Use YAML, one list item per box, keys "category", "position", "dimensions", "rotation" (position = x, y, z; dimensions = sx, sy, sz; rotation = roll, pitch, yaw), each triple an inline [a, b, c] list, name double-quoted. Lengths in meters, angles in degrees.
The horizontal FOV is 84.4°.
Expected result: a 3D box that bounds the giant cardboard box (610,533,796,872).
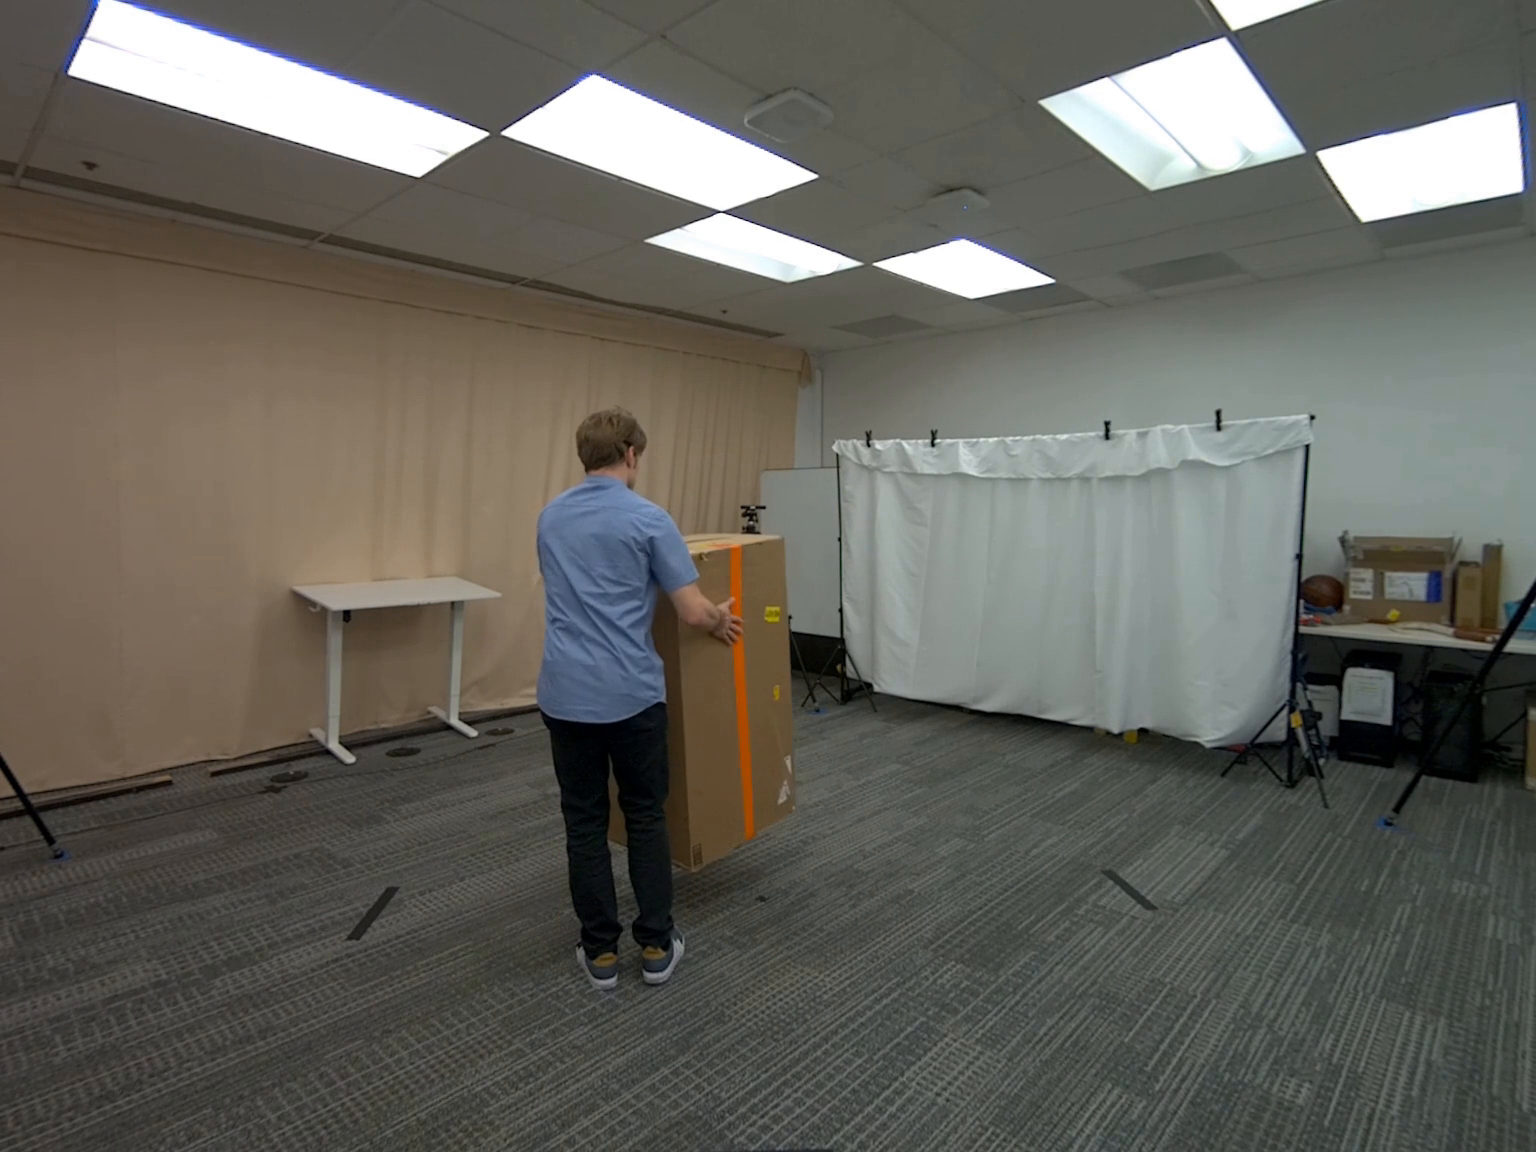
- category: "giant cardboard box"
  position: [-0.252, 0.401, 2.978]
  dimensions: [0.462, 1.022, 0.567]
  rotation: [4, 9, 40]
